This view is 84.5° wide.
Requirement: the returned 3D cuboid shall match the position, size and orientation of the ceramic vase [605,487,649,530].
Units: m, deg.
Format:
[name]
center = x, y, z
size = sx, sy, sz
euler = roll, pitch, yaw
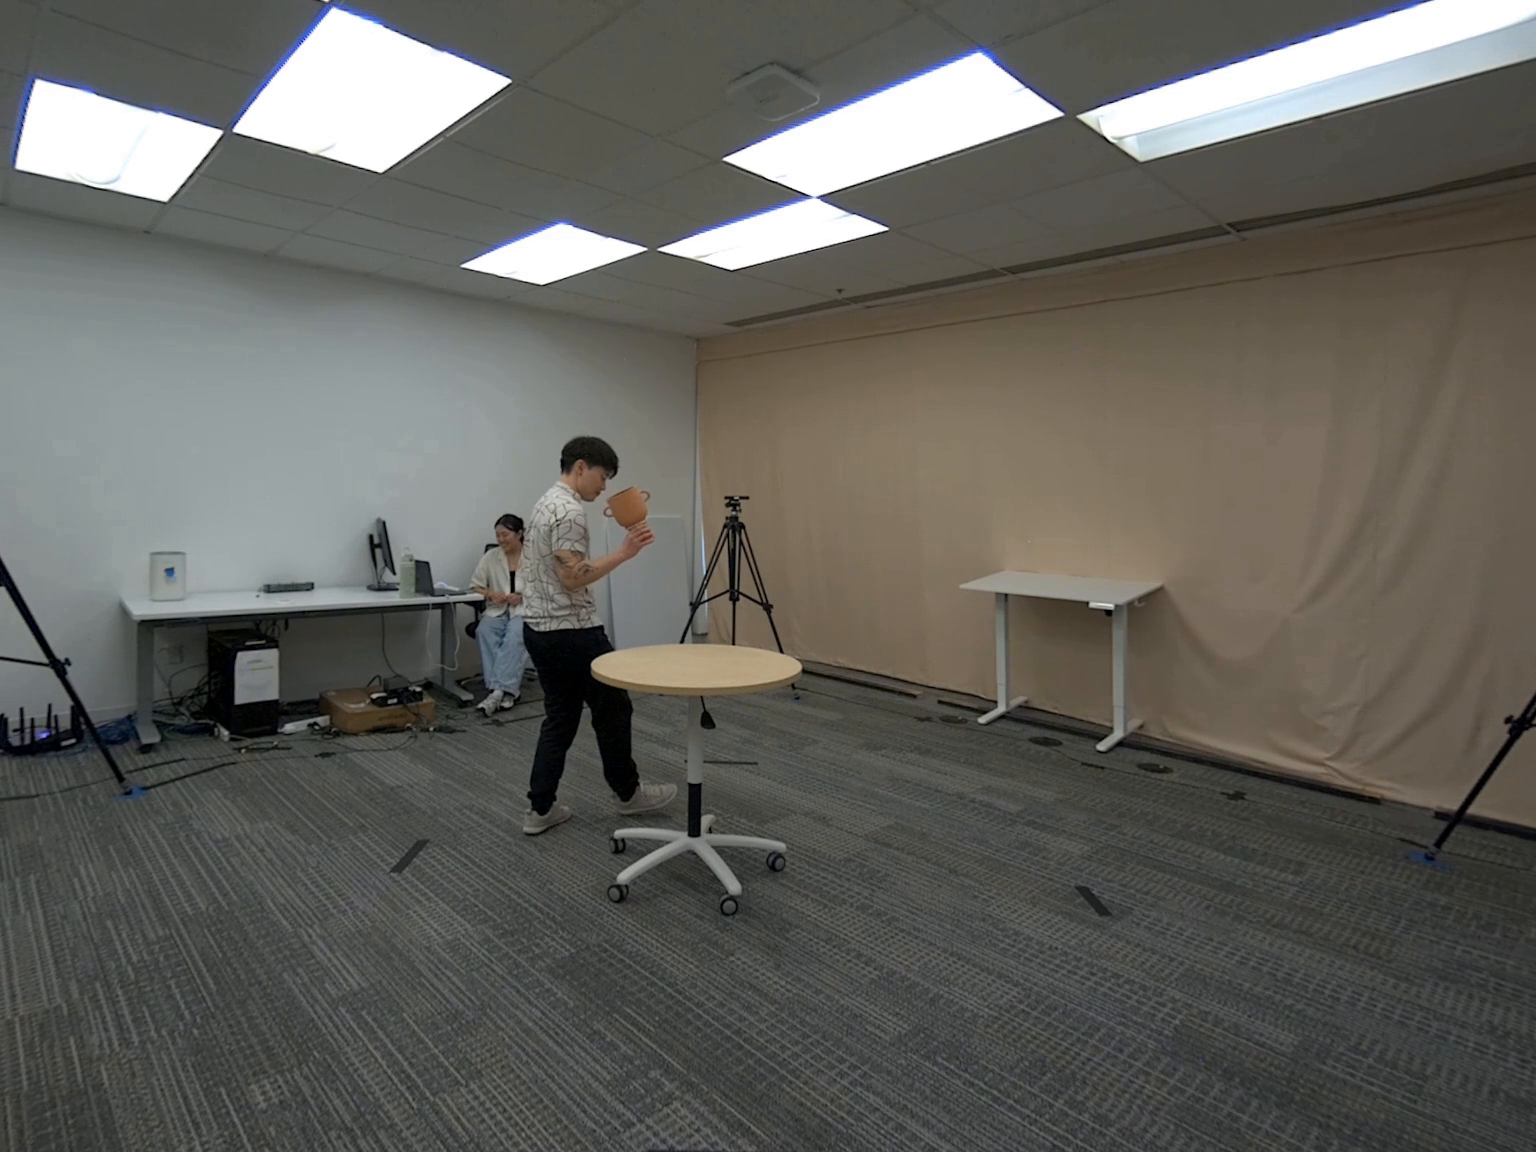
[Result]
[ceramic vase]
center = -0.543, -0.233, 3.336
size = 0.161, 0.217, 0.134
euler = -15, 13, 35
